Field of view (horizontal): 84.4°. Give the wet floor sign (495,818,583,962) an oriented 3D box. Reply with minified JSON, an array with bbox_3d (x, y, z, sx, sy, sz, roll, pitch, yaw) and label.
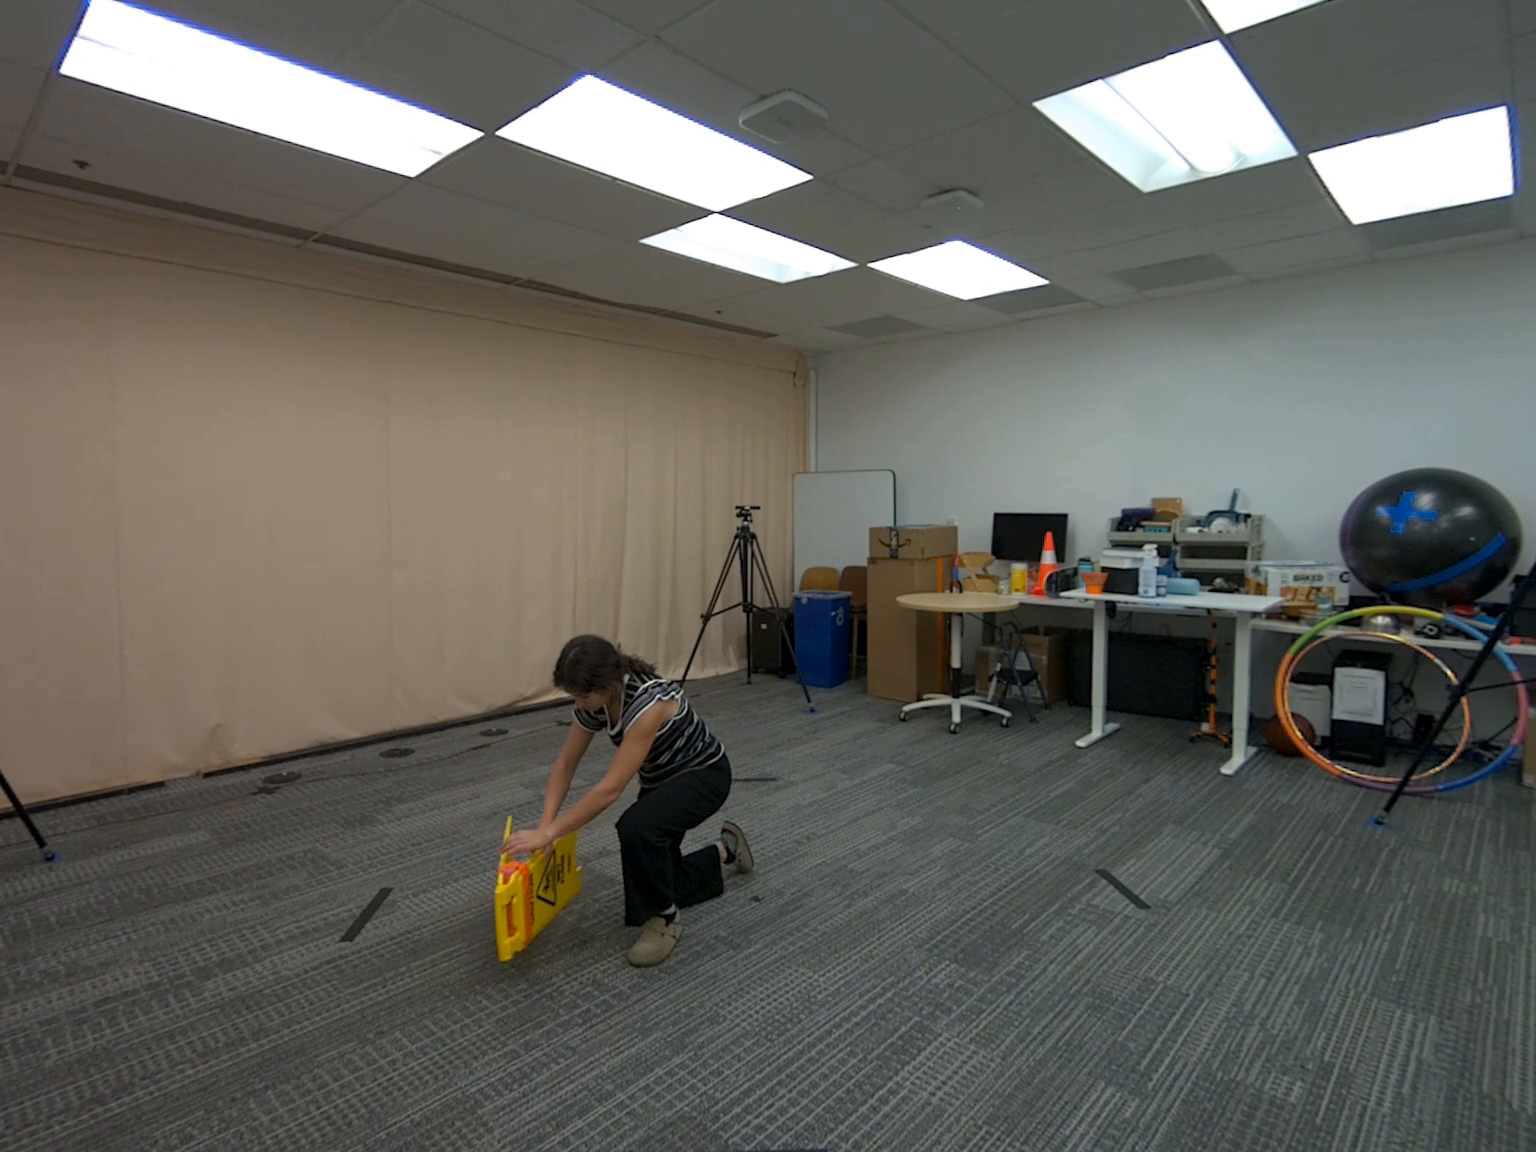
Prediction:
[{"bbox_3d":[-0.769,0.982,2.660,0.289,0.282,0.646,-3,-1,-3],"label":"wet floor sign"}]
